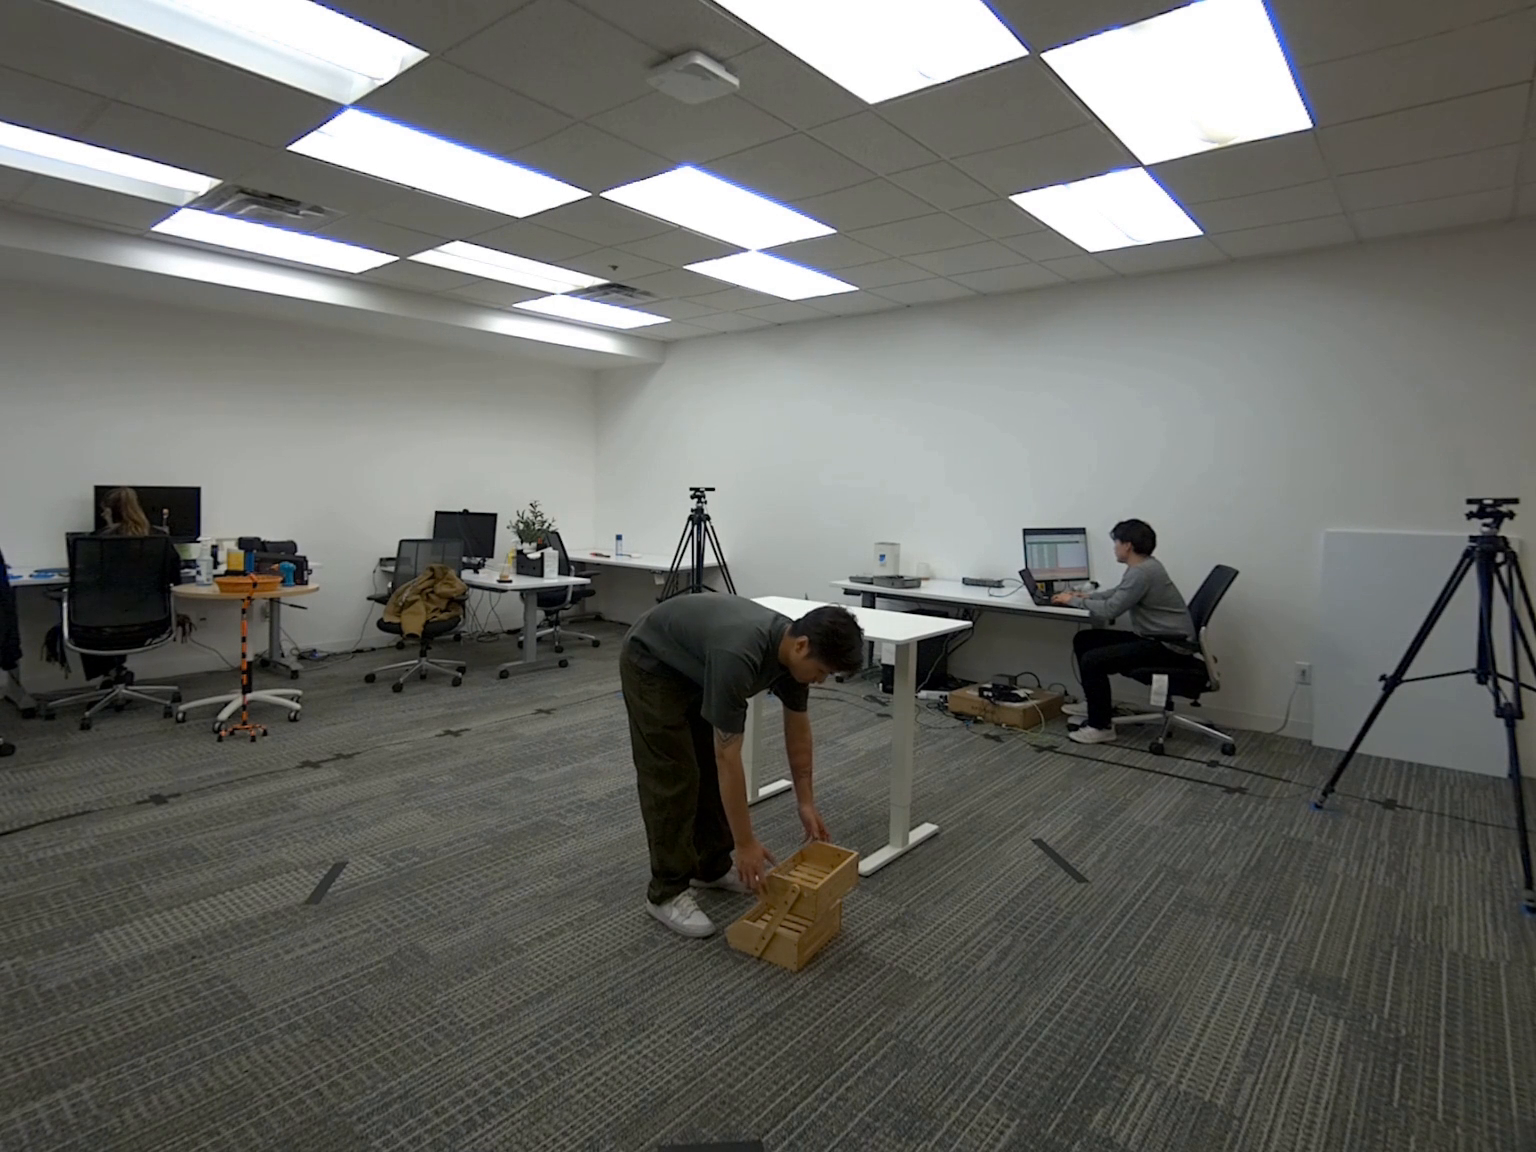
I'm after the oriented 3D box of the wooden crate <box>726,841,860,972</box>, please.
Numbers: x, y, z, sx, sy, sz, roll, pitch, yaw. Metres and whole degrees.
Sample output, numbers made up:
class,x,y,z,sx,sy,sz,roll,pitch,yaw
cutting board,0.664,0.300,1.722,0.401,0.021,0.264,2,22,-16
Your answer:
class,x,y,z,sx,sy,sz,roll,pitch,yaw
wooden crate,0.070,0.988,2.621,0.311,0.272,0.316,5,6,31
